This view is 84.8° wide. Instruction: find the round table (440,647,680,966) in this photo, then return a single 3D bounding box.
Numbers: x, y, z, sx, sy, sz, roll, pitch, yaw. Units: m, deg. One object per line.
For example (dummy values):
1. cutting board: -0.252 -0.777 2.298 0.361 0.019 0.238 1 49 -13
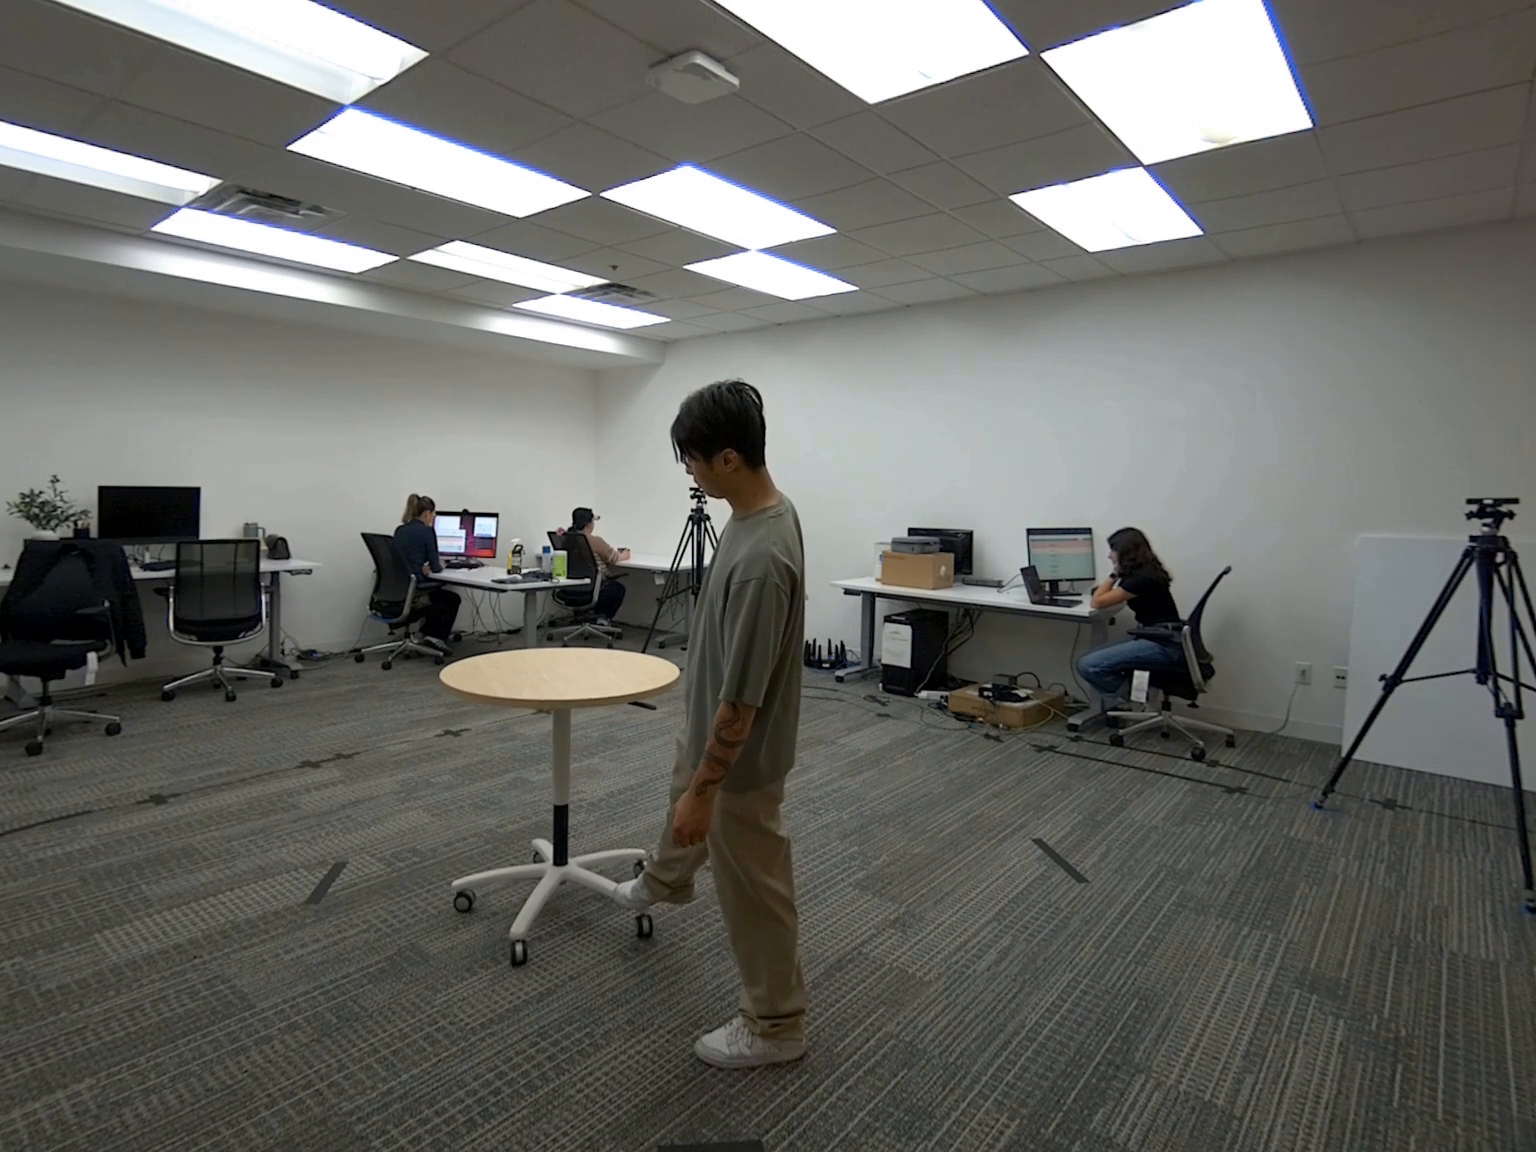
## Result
1. round table: -0.673 0.694 2.801 0.784 0.784 0.789 1 5 -2
